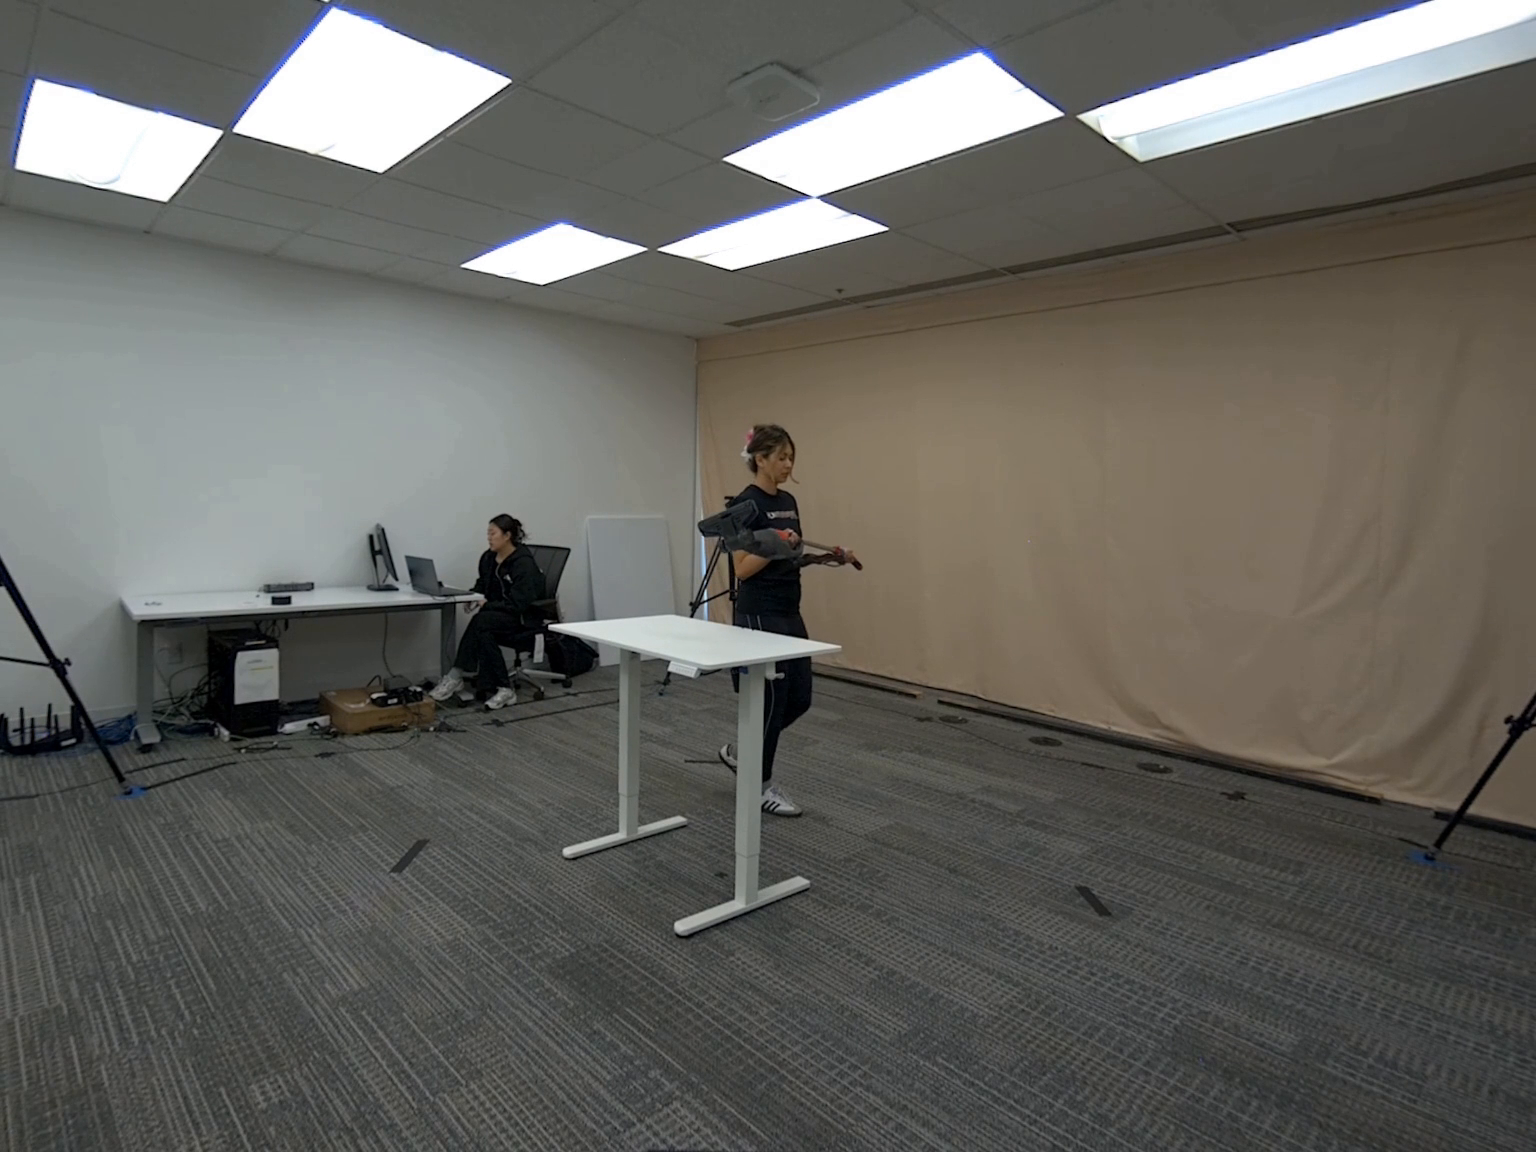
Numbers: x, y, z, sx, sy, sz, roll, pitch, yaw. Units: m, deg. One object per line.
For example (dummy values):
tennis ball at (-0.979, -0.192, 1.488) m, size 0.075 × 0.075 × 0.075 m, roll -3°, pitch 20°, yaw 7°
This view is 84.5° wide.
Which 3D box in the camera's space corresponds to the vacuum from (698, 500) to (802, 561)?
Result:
vacuum at (0.137, -0.105, 3.459) m, size 0.256 × 0.146 × 1.021 m, roll -20°, pitch -19°, yaw 31°
